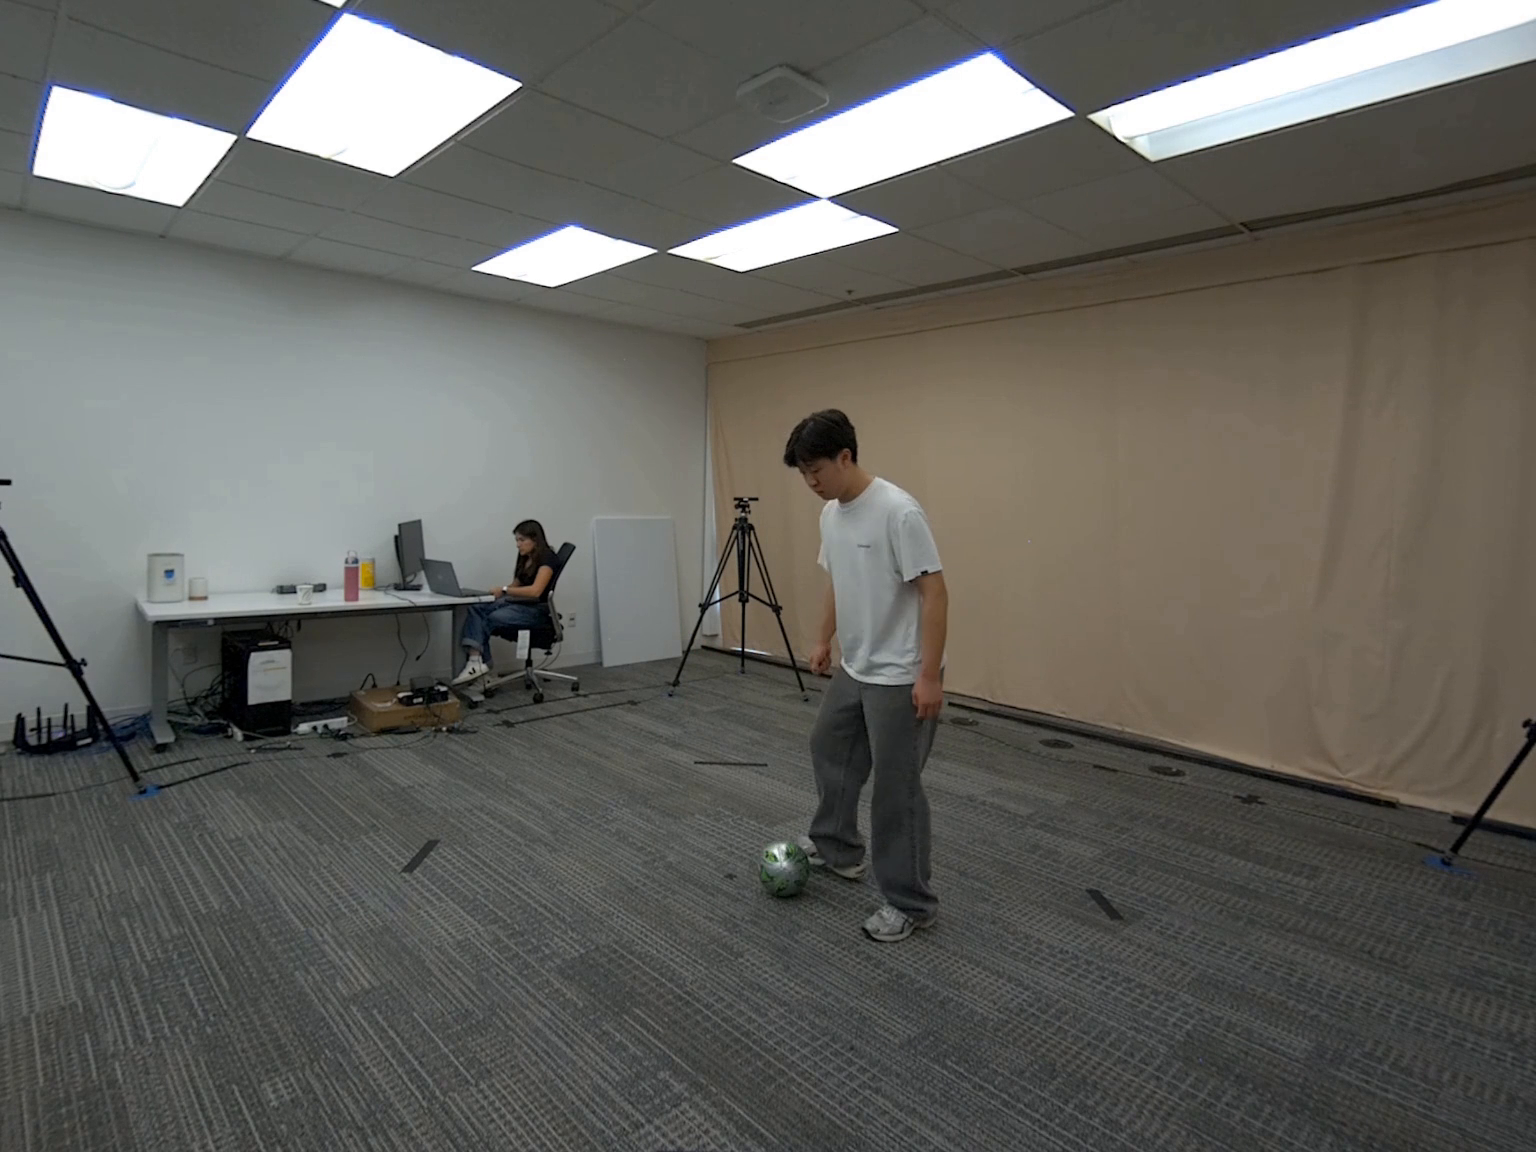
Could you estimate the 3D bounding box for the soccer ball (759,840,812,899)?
[{"bbox_3d":[0.048,1.033,2.967,0.187,0.187,0.188,1,4,-1],"label":"soccer ball"}]
